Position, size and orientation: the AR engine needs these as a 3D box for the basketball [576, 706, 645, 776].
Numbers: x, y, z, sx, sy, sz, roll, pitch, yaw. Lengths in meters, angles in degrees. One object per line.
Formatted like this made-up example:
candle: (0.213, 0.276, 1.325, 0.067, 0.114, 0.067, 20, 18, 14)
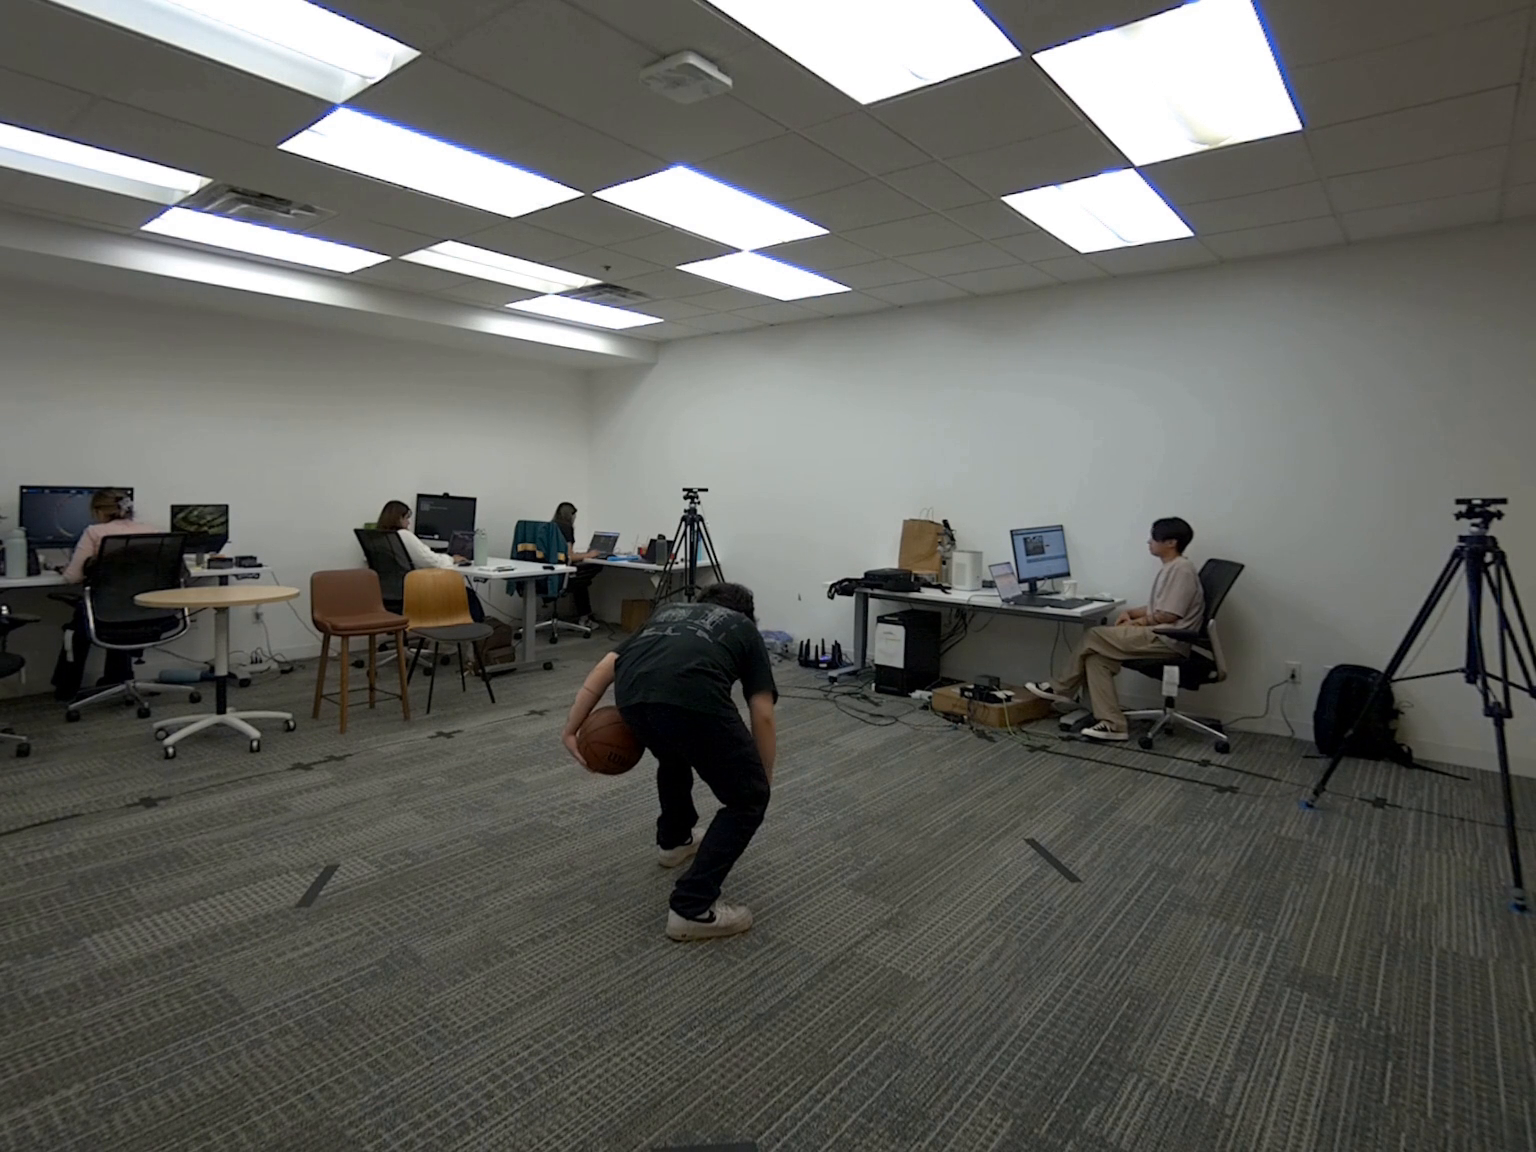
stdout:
basketball: (-0.553, 0.576, 2.995, 0.235, 0.235, 0.237, 1, 4, -2)
